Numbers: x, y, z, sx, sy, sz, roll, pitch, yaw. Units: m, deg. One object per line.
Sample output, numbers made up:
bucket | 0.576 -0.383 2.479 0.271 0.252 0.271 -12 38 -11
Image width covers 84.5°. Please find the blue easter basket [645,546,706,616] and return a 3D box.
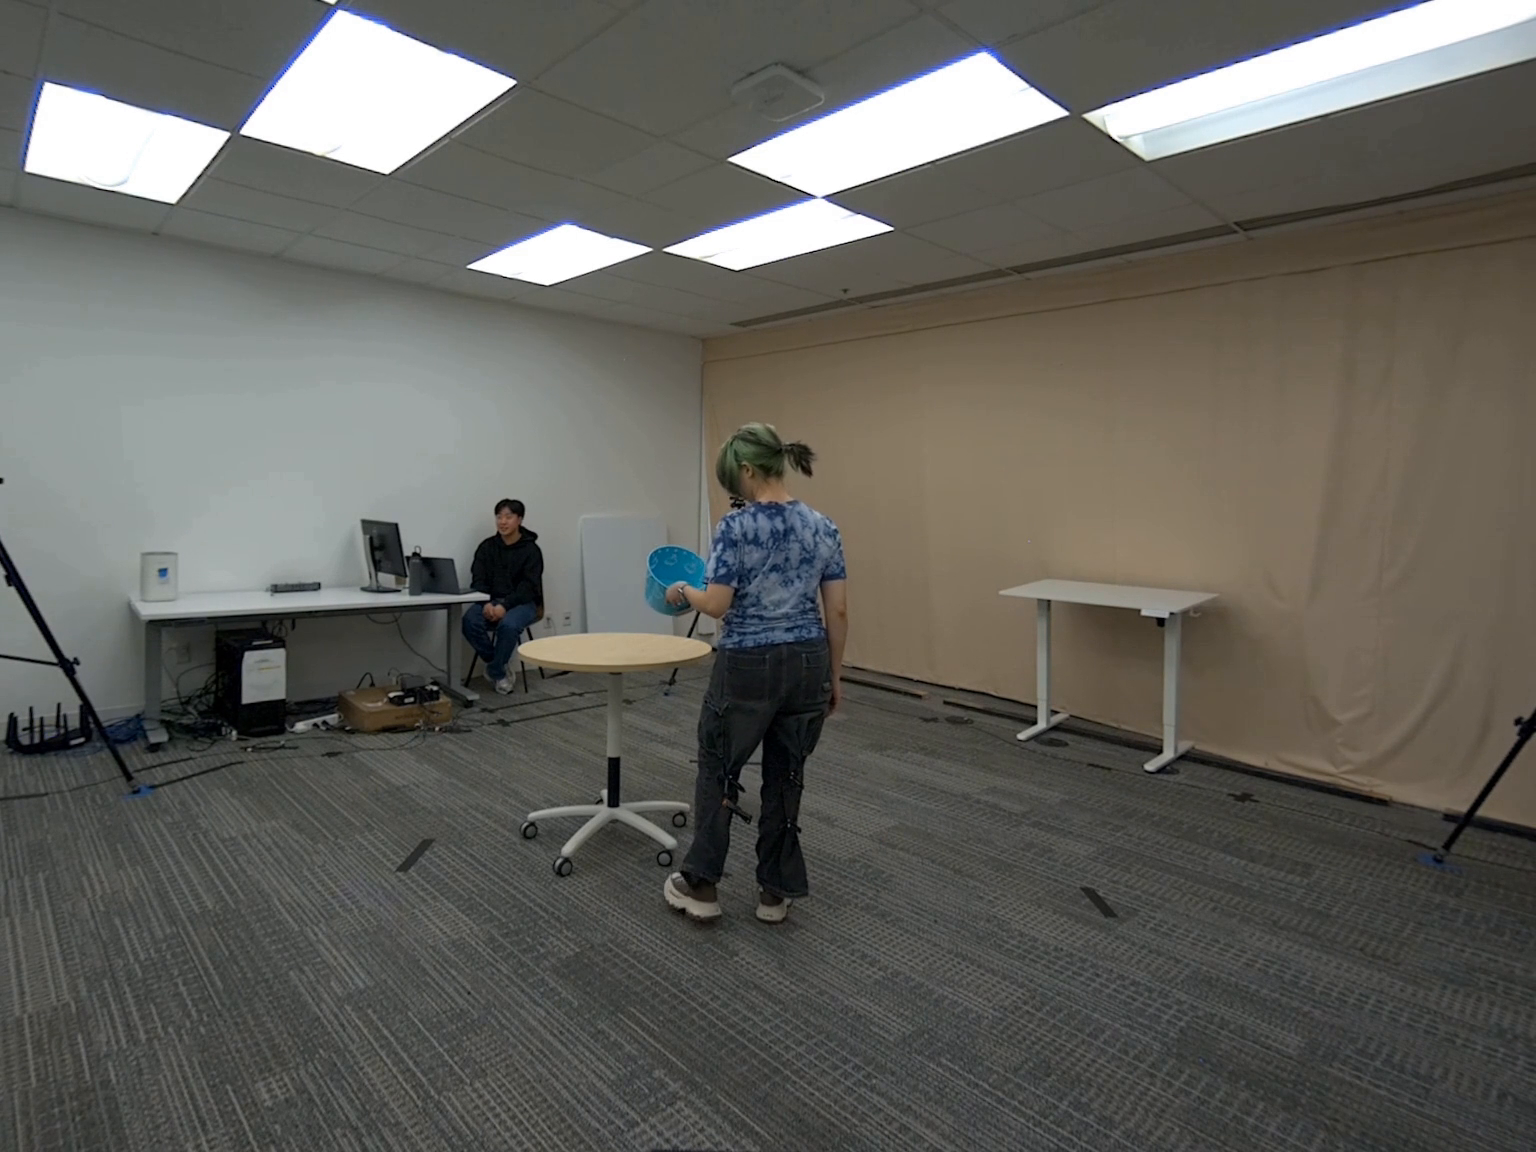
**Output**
blue easter basket | -0.349 0.029 3.026 0.241 0.154 0.249 12 41 -12
